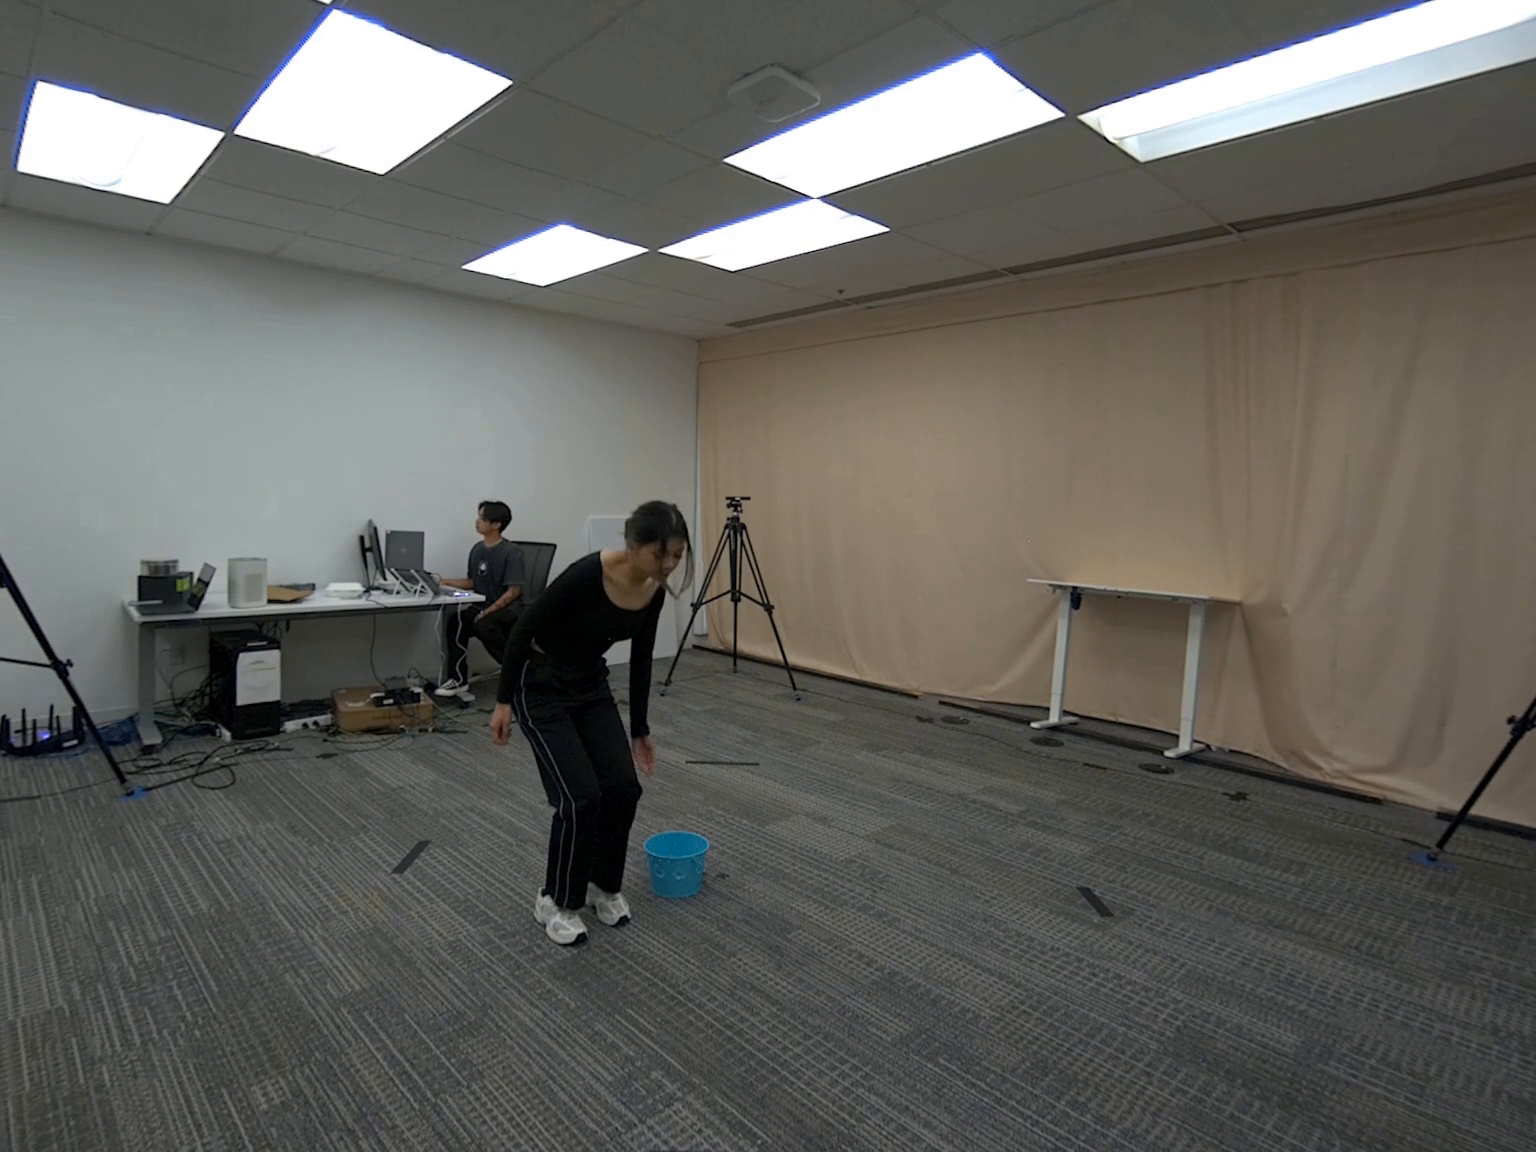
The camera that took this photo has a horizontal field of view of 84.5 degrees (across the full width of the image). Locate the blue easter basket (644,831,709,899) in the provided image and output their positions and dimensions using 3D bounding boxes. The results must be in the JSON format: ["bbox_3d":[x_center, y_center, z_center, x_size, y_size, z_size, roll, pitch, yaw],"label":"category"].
[{"bbox_3d":[-0.330,1.035,3.009,0.243,0.155,0.244,1,5,-1],"label":"blue easter basket"}]
